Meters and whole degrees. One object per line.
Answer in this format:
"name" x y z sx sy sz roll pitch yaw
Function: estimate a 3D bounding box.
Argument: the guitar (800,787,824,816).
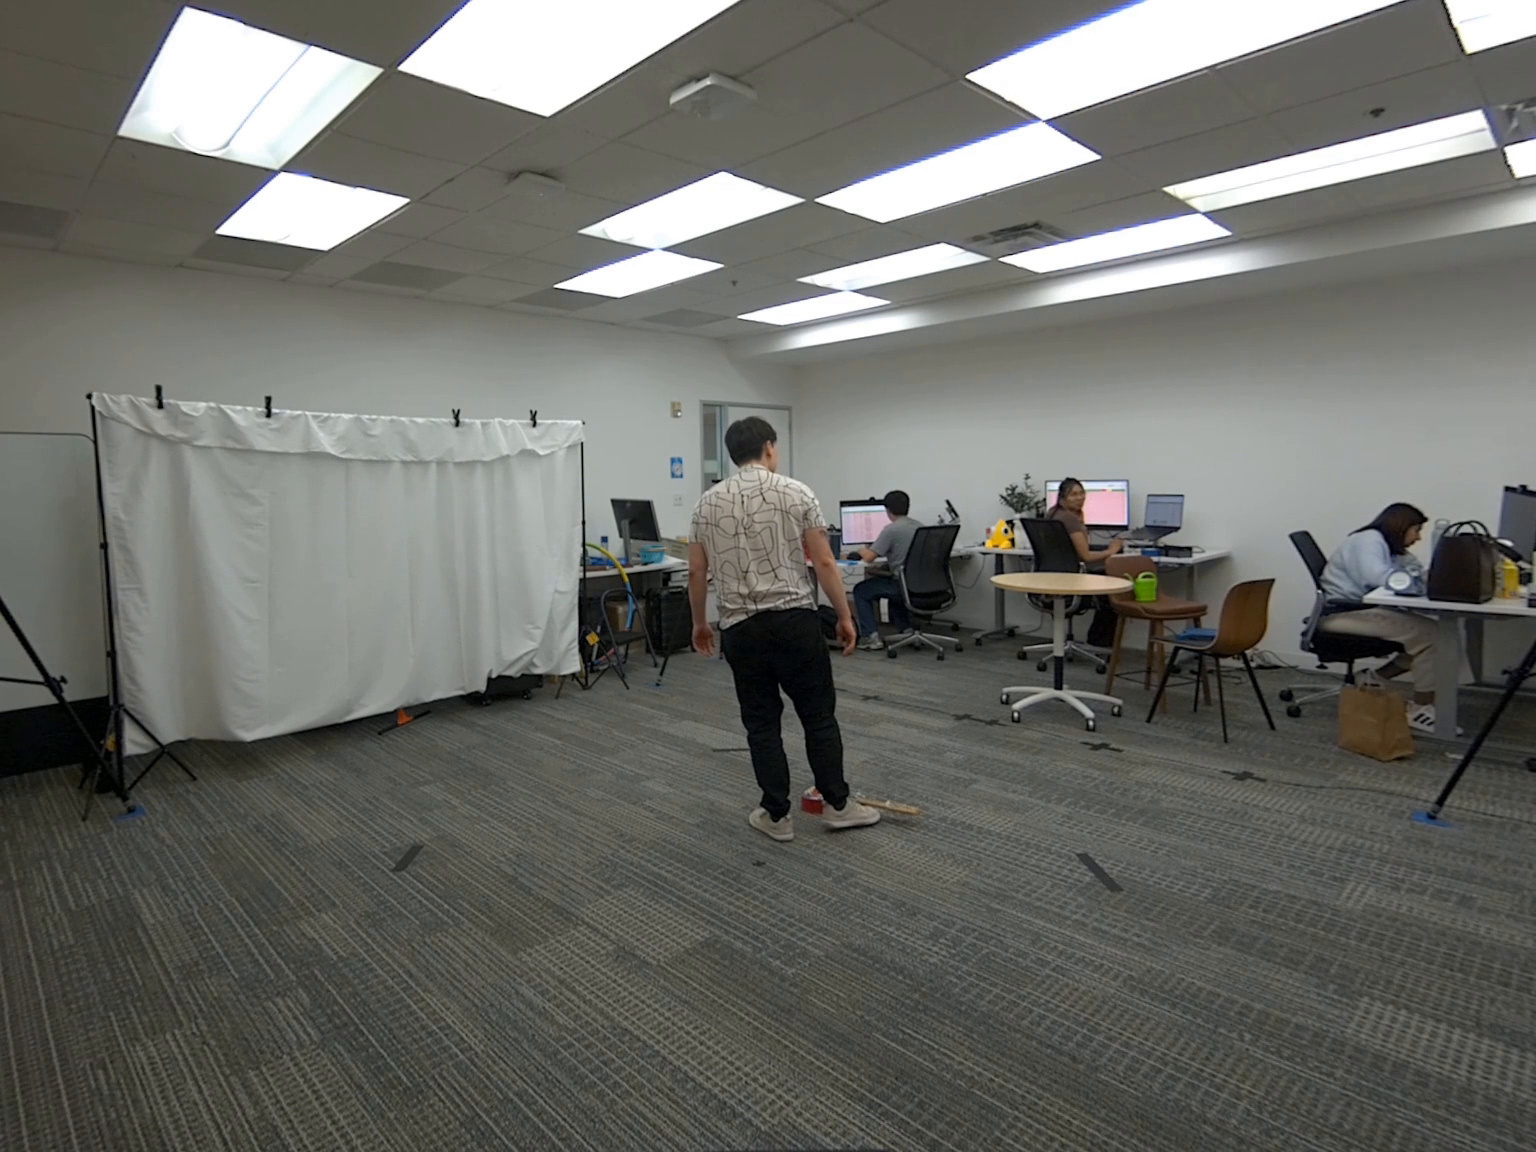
"guitar" 0.372 0.960 3.536 0.513 0.070 0.188 4 7 40
